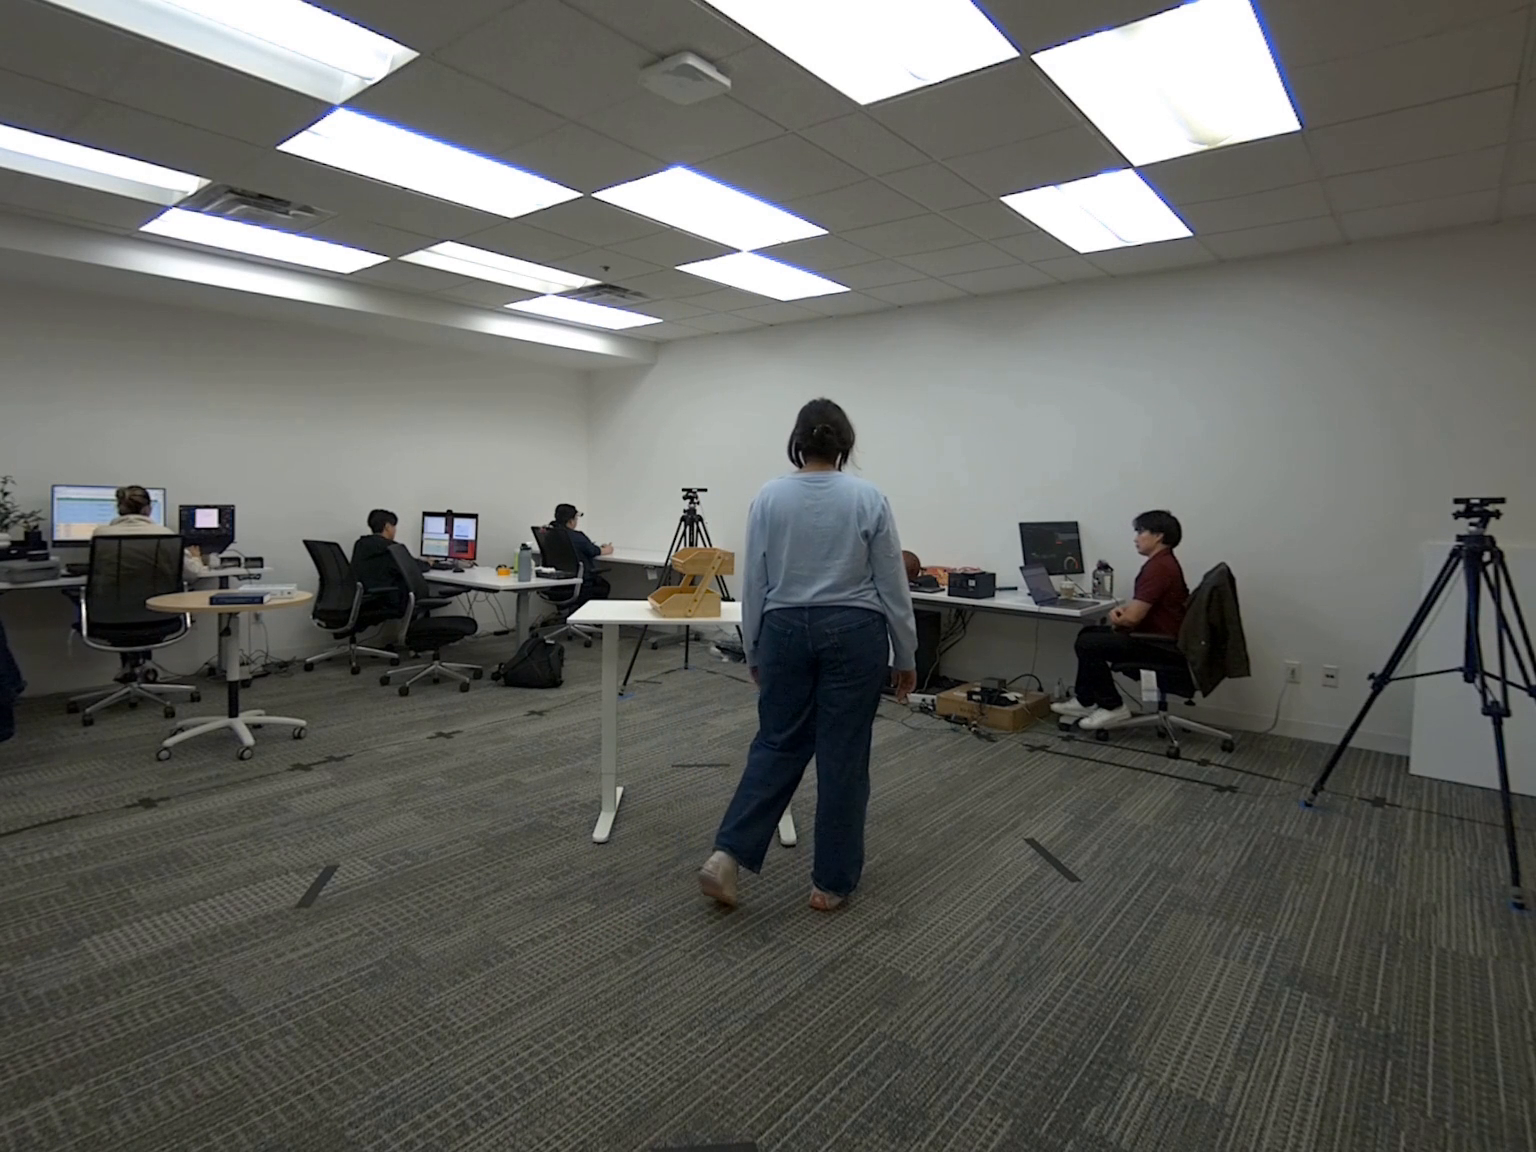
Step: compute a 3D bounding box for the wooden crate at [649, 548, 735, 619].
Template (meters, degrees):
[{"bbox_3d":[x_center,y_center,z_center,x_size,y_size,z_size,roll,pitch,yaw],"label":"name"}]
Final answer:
[{"bbox_3d":[-0.335,0.013,3.506,0.297,0.273,0.331,1,4,-16],"label":"wooden crate"}]
